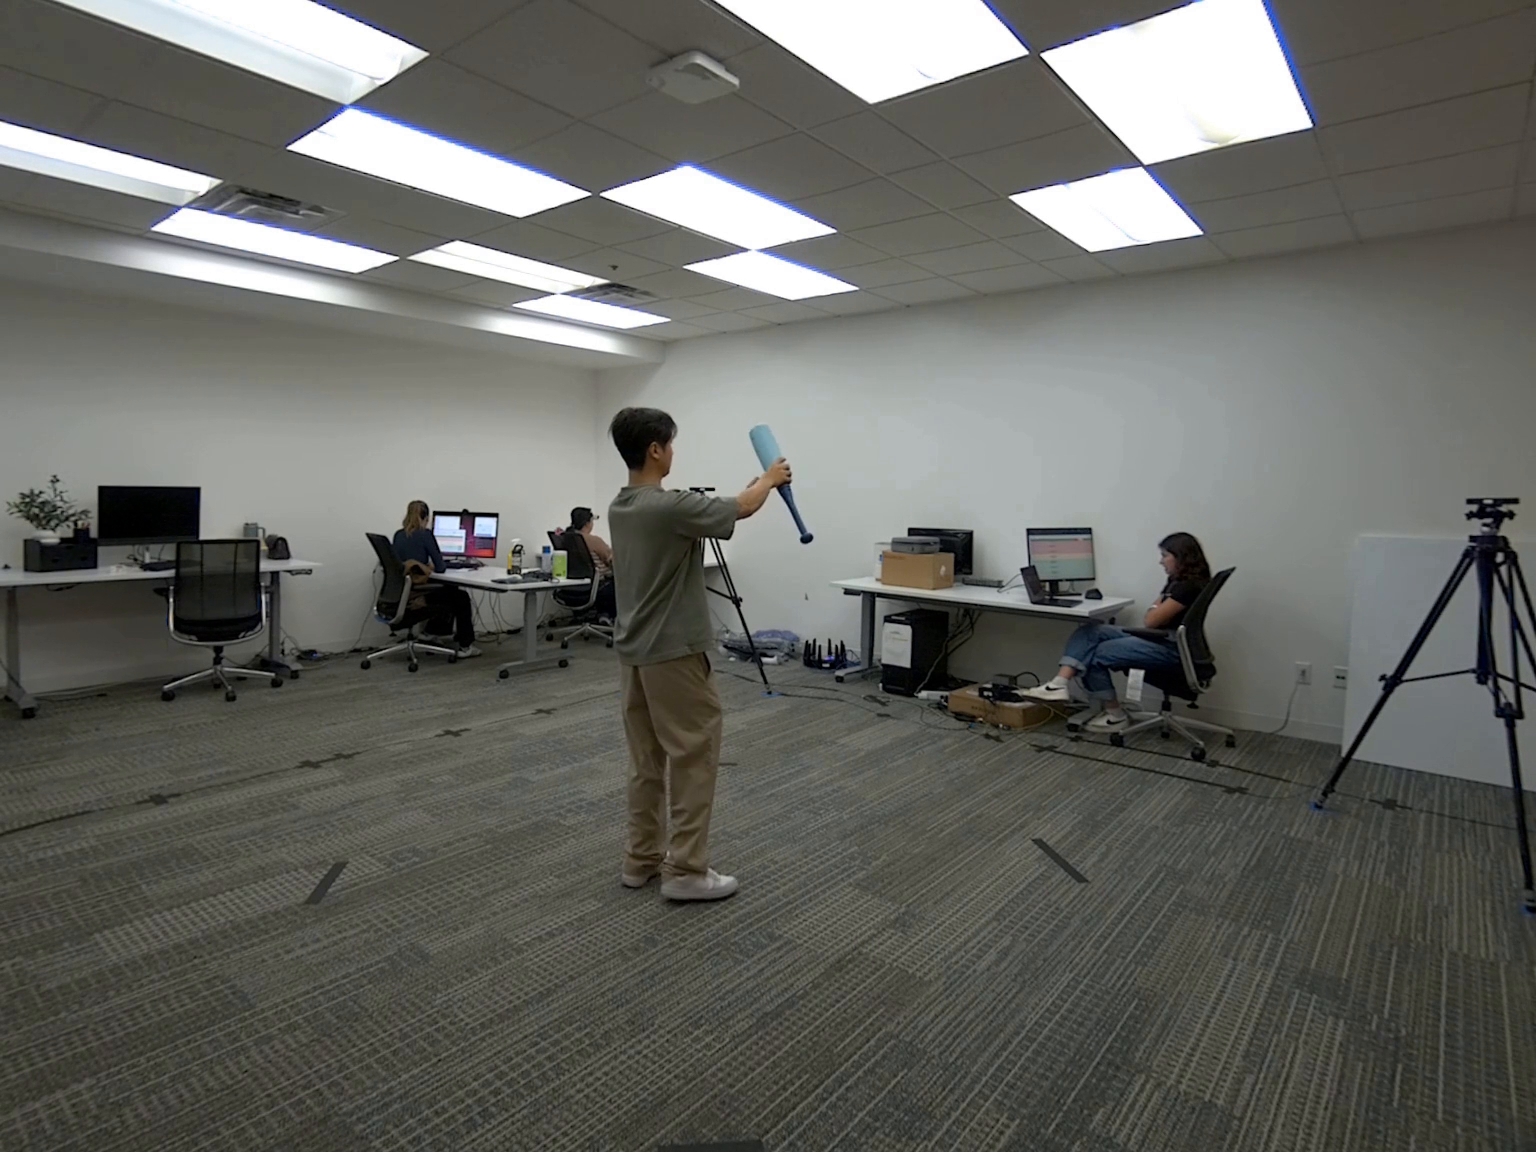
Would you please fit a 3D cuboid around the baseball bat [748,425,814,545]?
[{"bbox_3d":[0.044,-0.353,3.217,0.088,0.561,0.087,-15,-30,-10],"label":"baseball bat"}]
